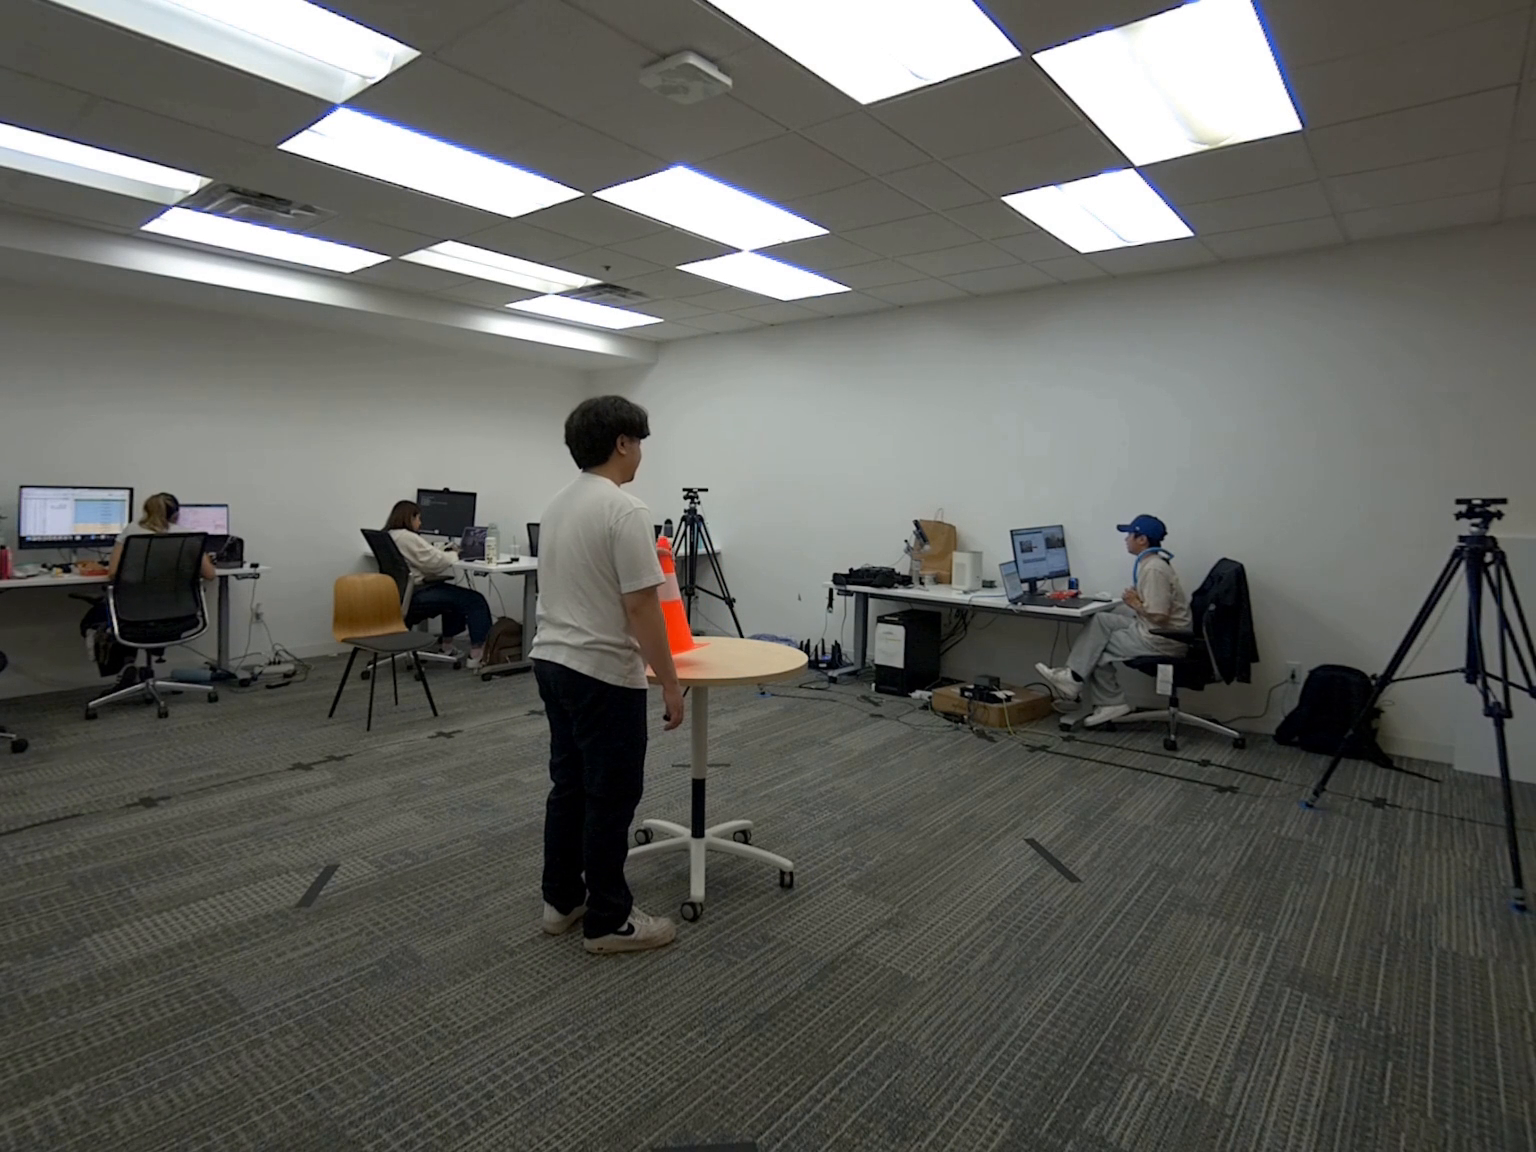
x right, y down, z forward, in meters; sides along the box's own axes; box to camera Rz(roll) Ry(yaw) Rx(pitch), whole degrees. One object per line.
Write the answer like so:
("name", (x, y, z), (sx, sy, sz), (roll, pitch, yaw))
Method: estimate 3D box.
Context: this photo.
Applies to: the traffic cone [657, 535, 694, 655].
("traffic cone", (-0.349, 0.062, 2.863), (0.211, 0.382, 0.198), (0, 6, 39))
